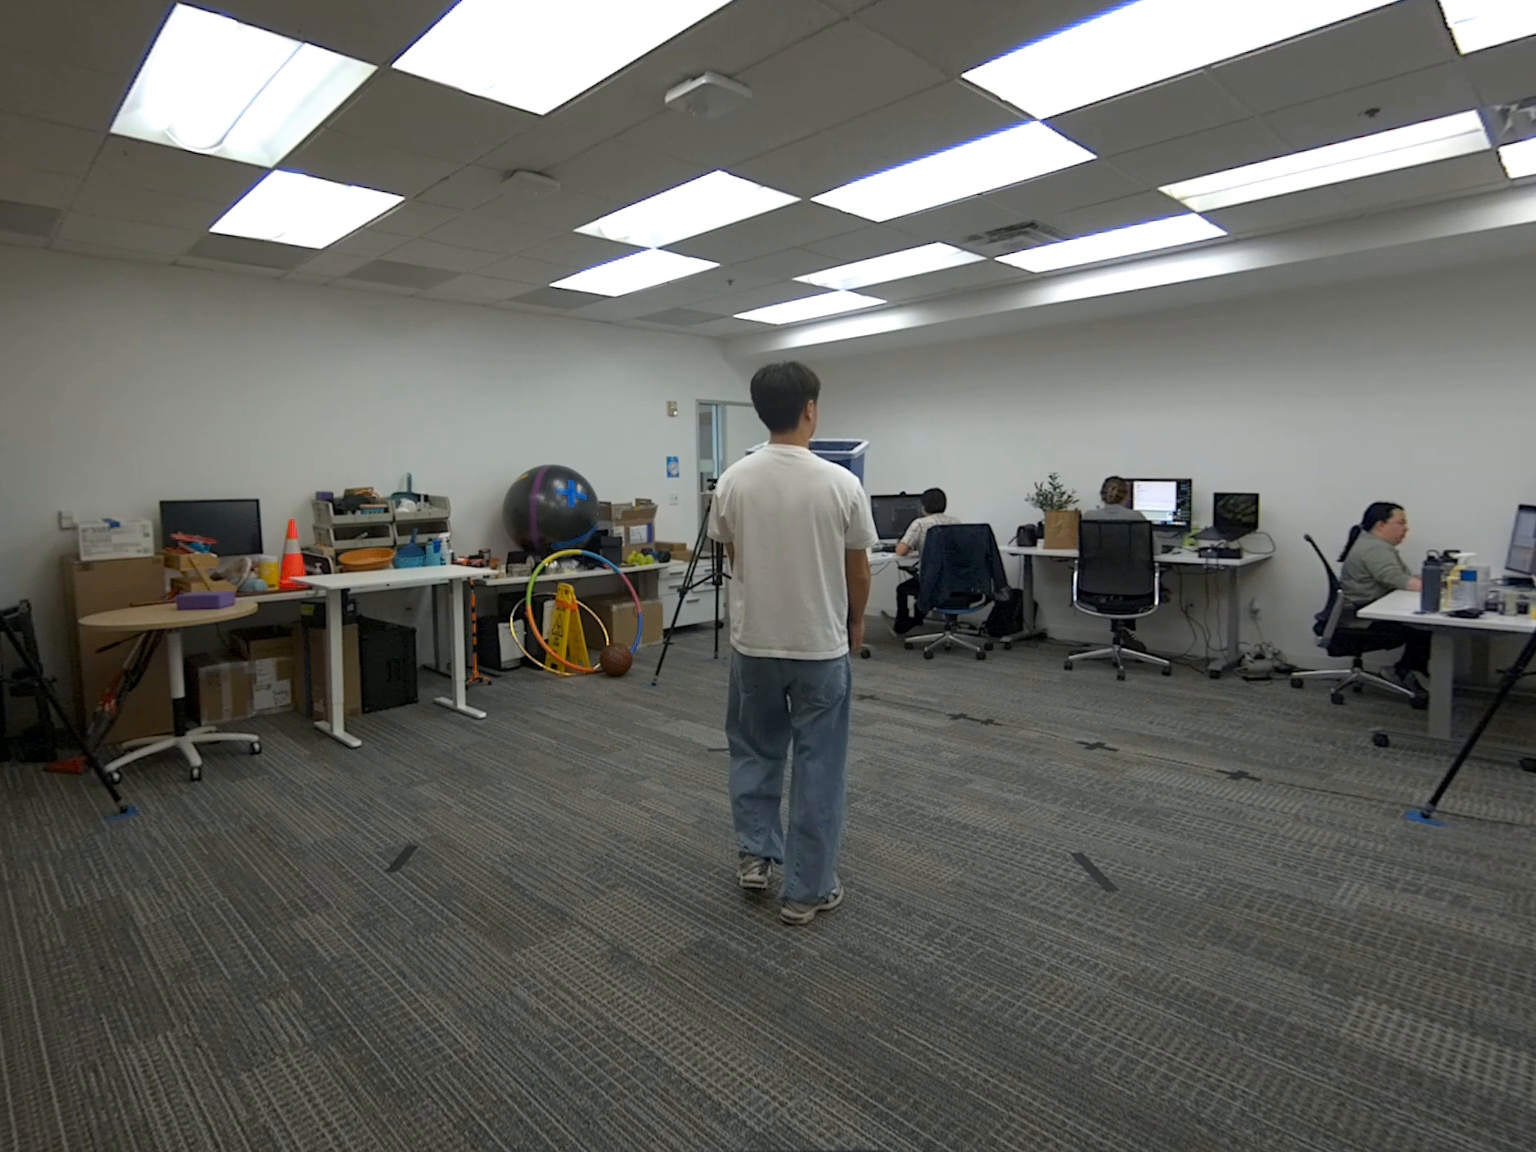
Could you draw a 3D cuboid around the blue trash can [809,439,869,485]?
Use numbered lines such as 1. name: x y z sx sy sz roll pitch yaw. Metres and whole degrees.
1. blue trash can: 0.157 -0.106 2.991 0.381 0.705 0.376 2 14 17
